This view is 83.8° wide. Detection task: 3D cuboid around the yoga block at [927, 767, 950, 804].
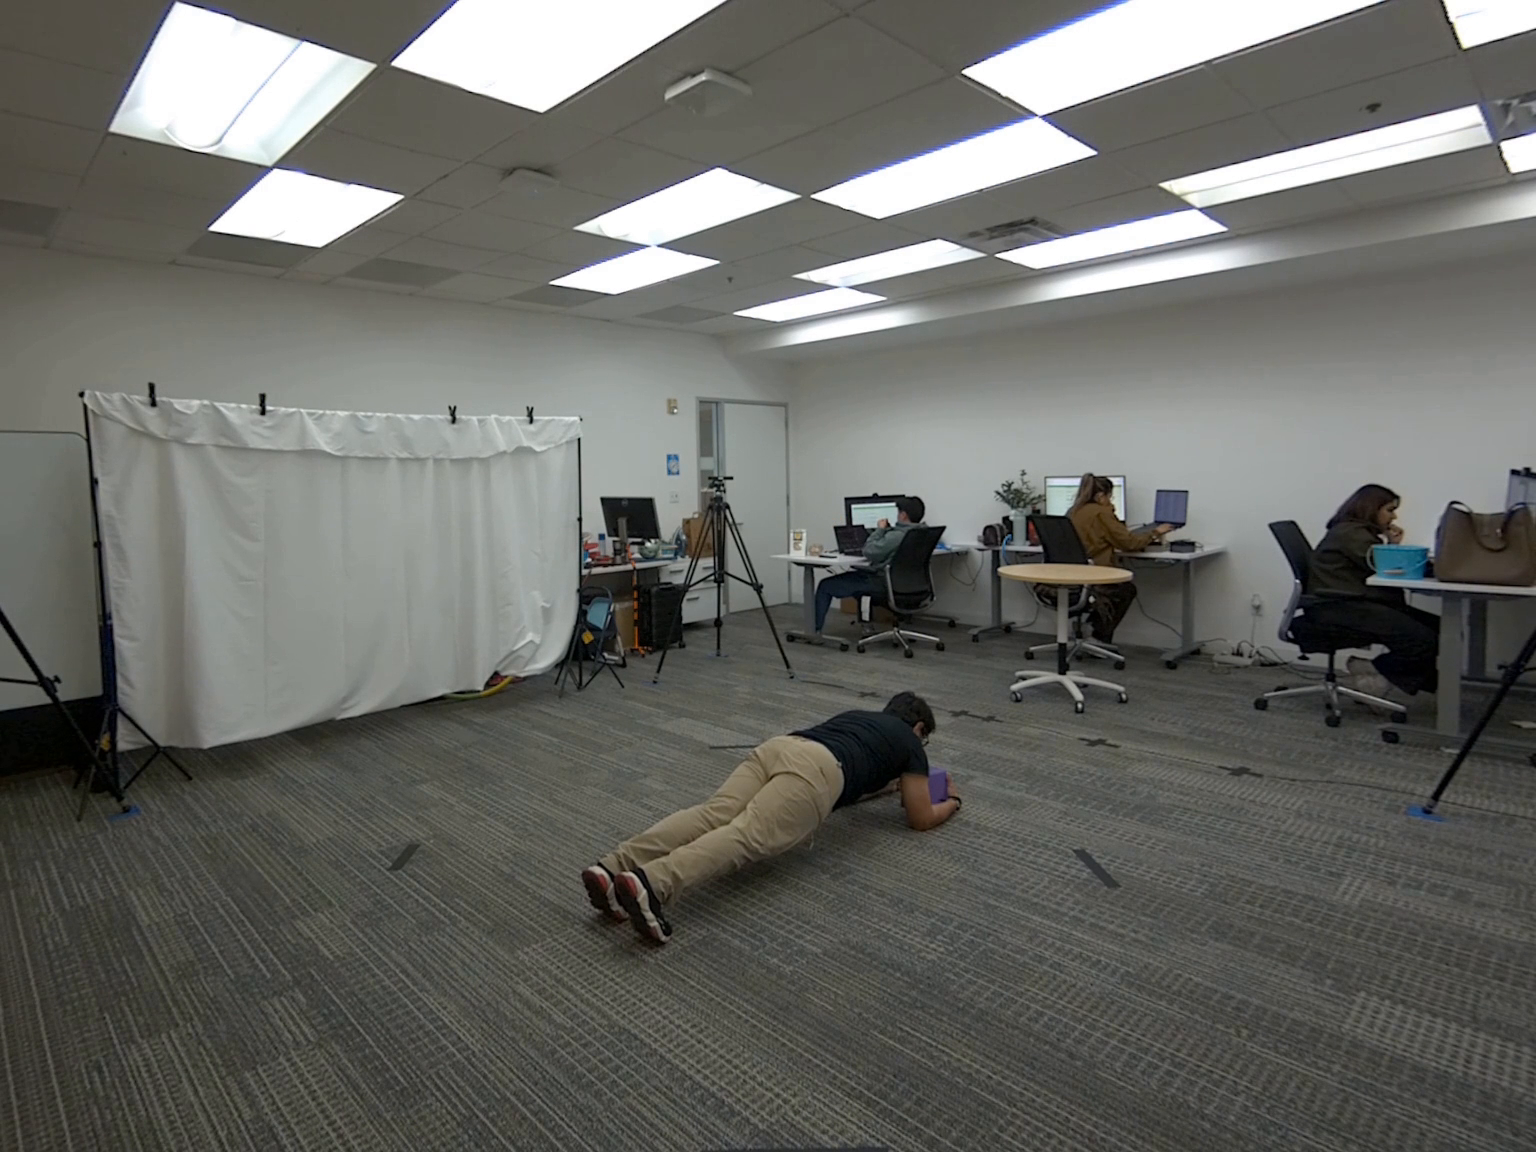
[{"bbox_3d":[0.641,0.866,3.505,0.222,0.150,0.078,7,-9,-39],"label":"yoga block"}]
